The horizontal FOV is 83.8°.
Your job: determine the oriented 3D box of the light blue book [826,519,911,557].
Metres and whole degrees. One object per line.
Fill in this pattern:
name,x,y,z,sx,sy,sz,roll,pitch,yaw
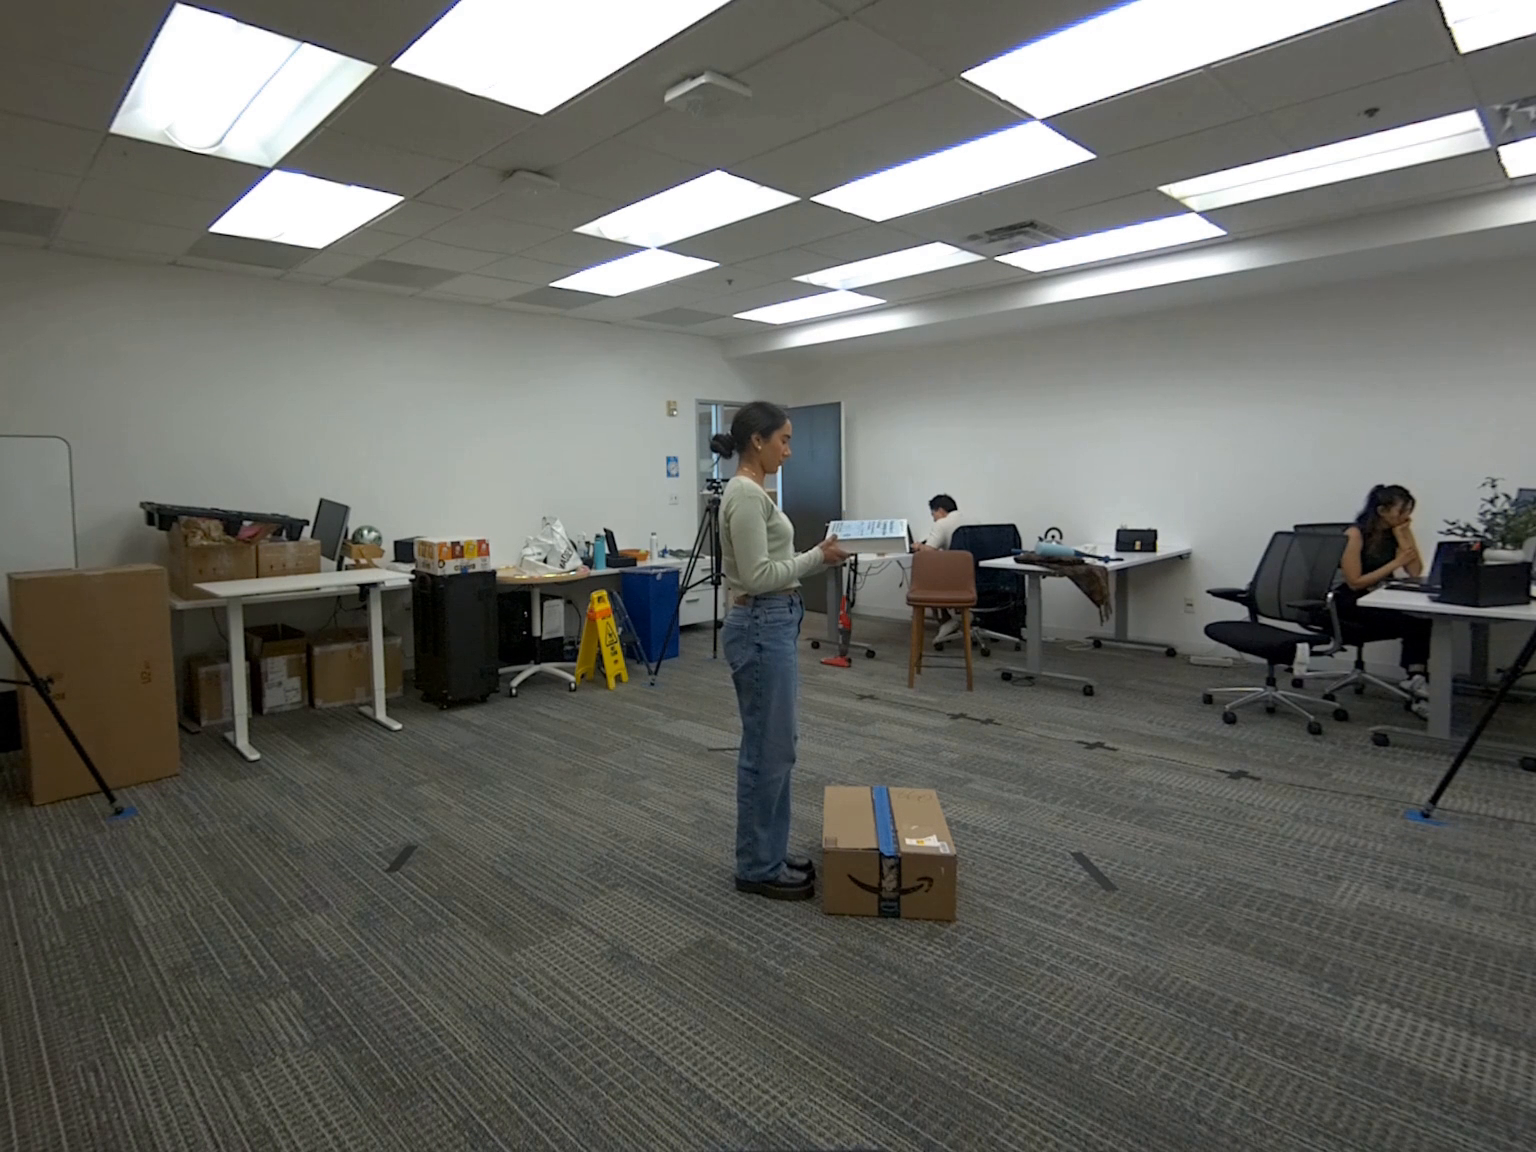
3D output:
light blue book,0.335,-0.139,2.879,0.264,0.058,0.193,-1,23,12
